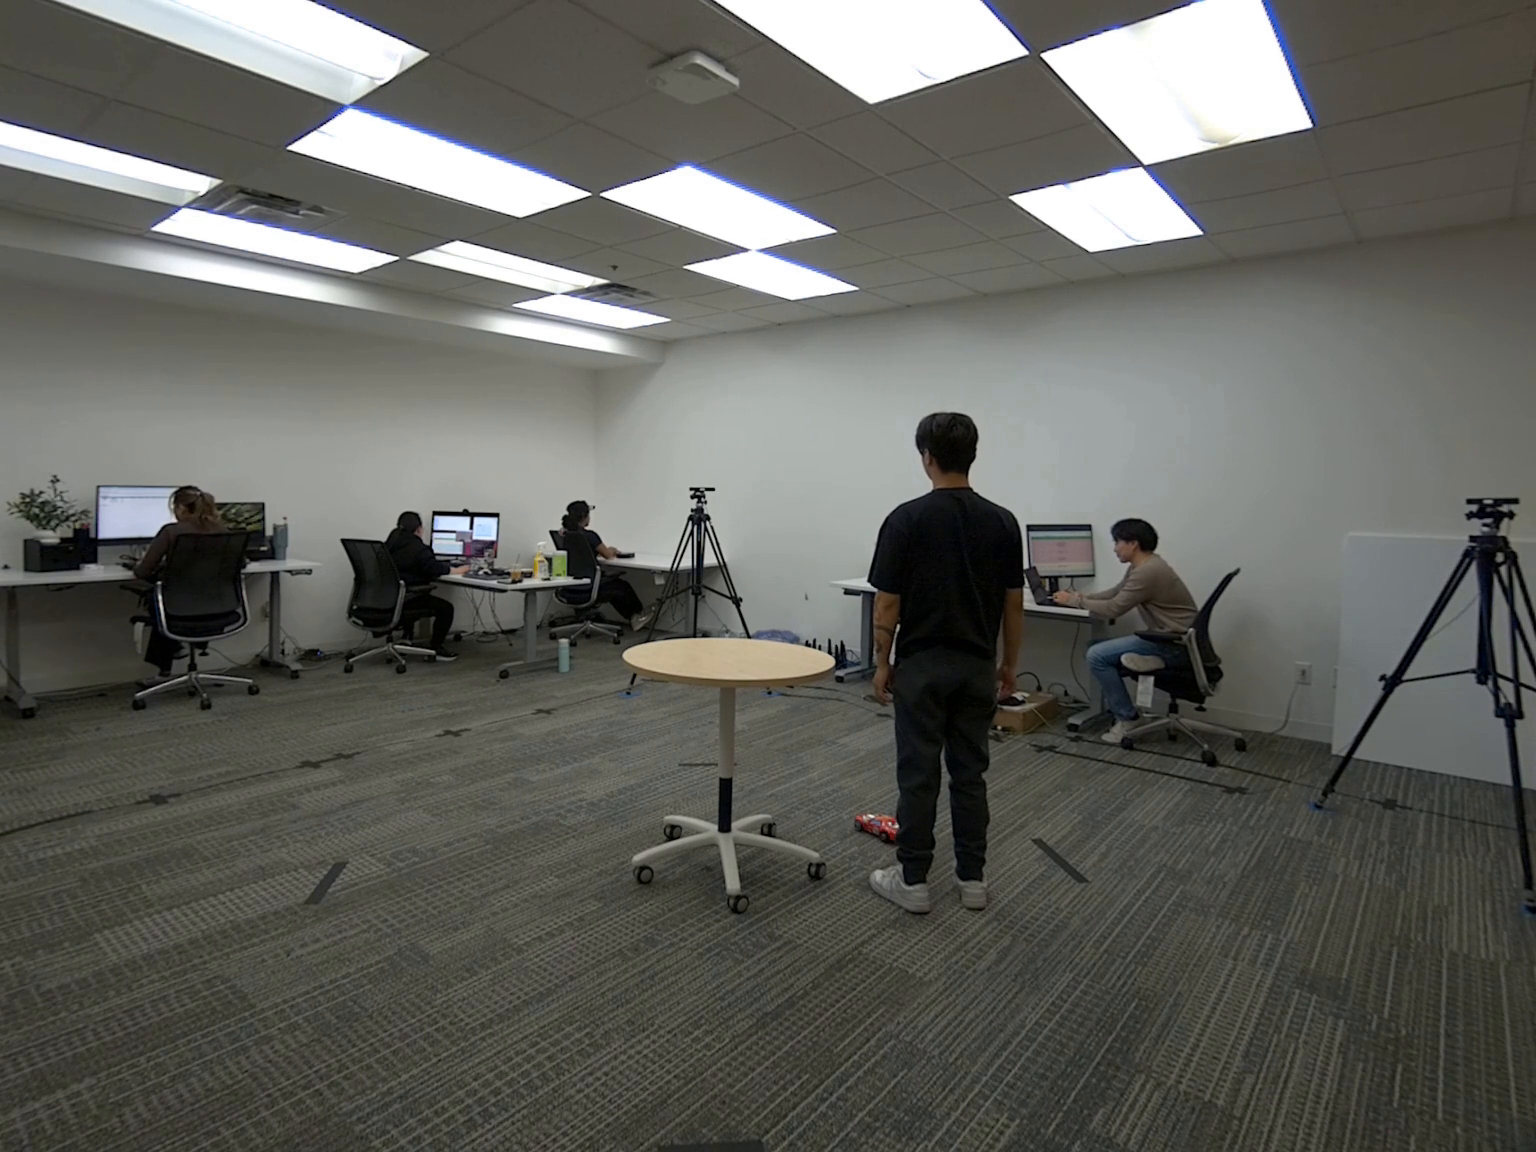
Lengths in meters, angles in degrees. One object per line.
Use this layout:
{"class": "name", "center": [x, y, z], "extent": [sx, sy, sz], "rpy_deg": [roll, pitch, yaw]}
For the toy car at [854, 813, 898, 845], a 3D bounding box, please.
{"class": "toy car", "center": [0.467, 1.018, 3.456], "extent": [0.126, 0.084, 0.261], "rpy_deg": [-1, -5, -38]}
